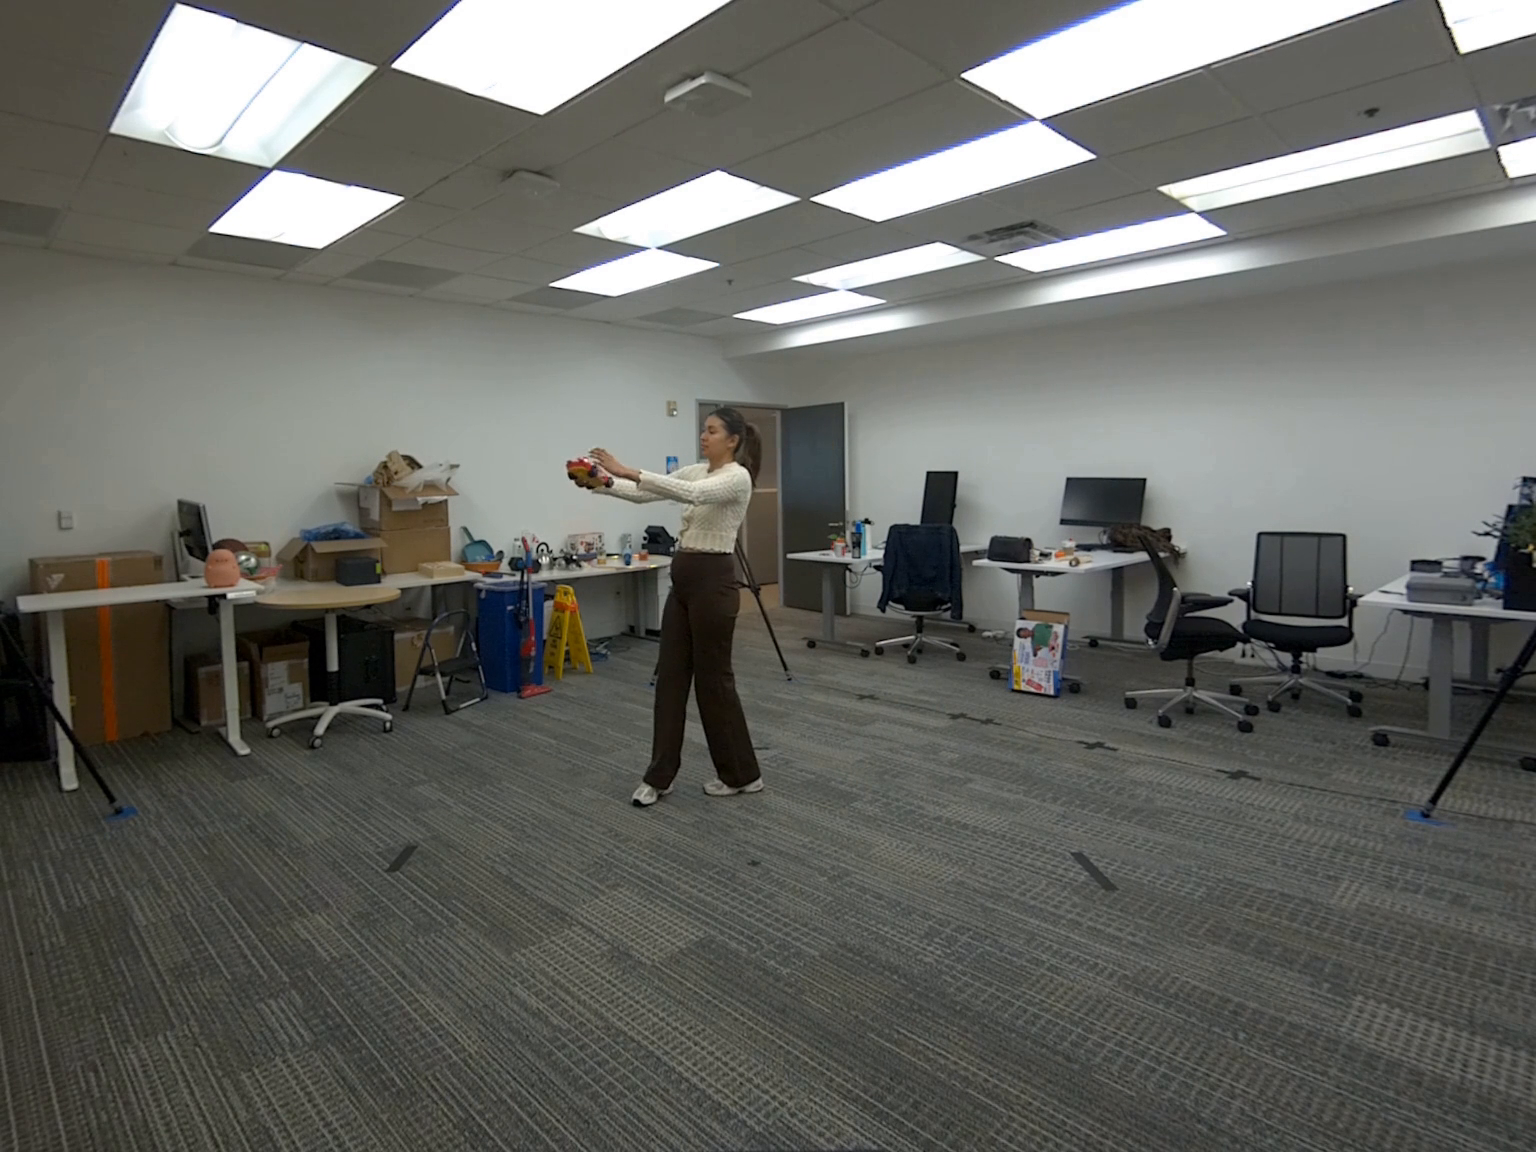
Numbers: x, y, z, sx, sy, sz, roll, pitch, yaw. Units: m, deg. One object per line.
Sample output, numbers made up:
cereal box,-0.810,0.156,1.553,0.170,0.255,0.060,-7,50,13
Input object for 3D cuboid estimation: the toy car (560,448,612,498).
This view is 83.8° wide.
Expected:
toy car,-0.723,-0.420,3.495,0.132,0.084,0.246,-1,-23,18
